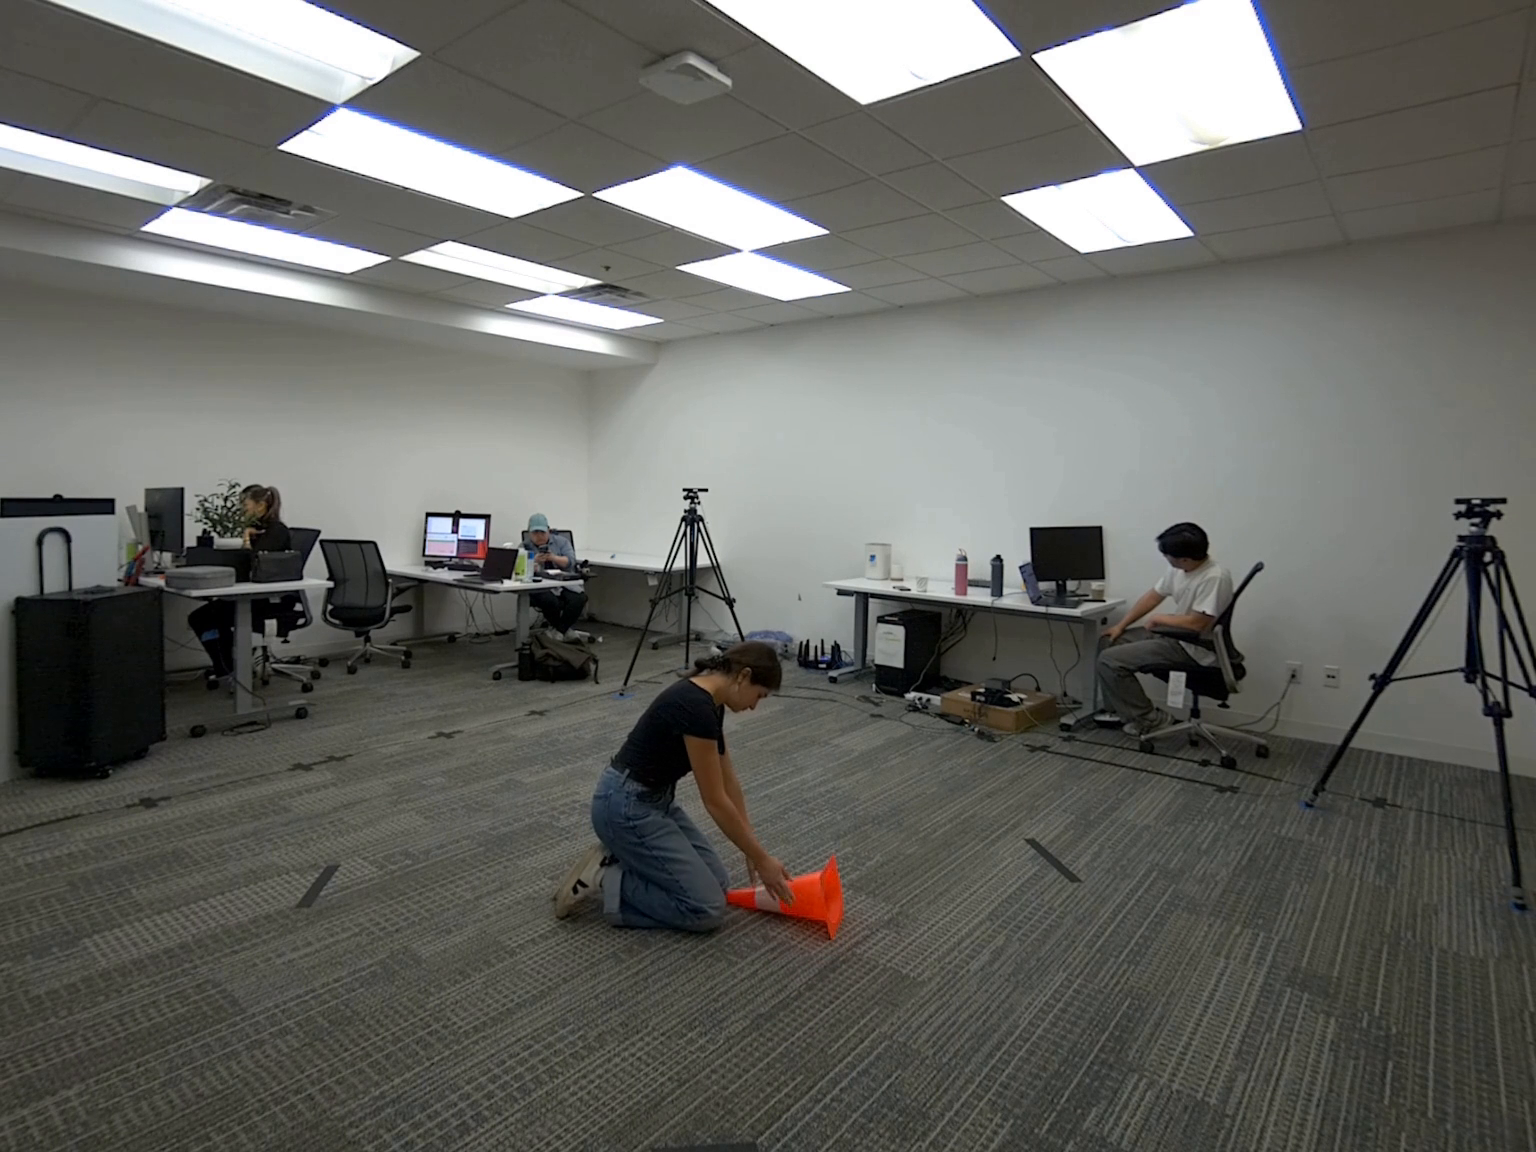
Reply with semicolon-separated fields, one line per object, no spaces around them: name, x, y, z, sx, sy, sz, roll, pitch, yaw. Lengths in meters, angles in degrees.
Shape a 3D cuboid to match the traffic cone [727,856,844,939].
traffic cone;0.035;1.053;2.787;0.391;0.204;0.201;-9;-1;22
